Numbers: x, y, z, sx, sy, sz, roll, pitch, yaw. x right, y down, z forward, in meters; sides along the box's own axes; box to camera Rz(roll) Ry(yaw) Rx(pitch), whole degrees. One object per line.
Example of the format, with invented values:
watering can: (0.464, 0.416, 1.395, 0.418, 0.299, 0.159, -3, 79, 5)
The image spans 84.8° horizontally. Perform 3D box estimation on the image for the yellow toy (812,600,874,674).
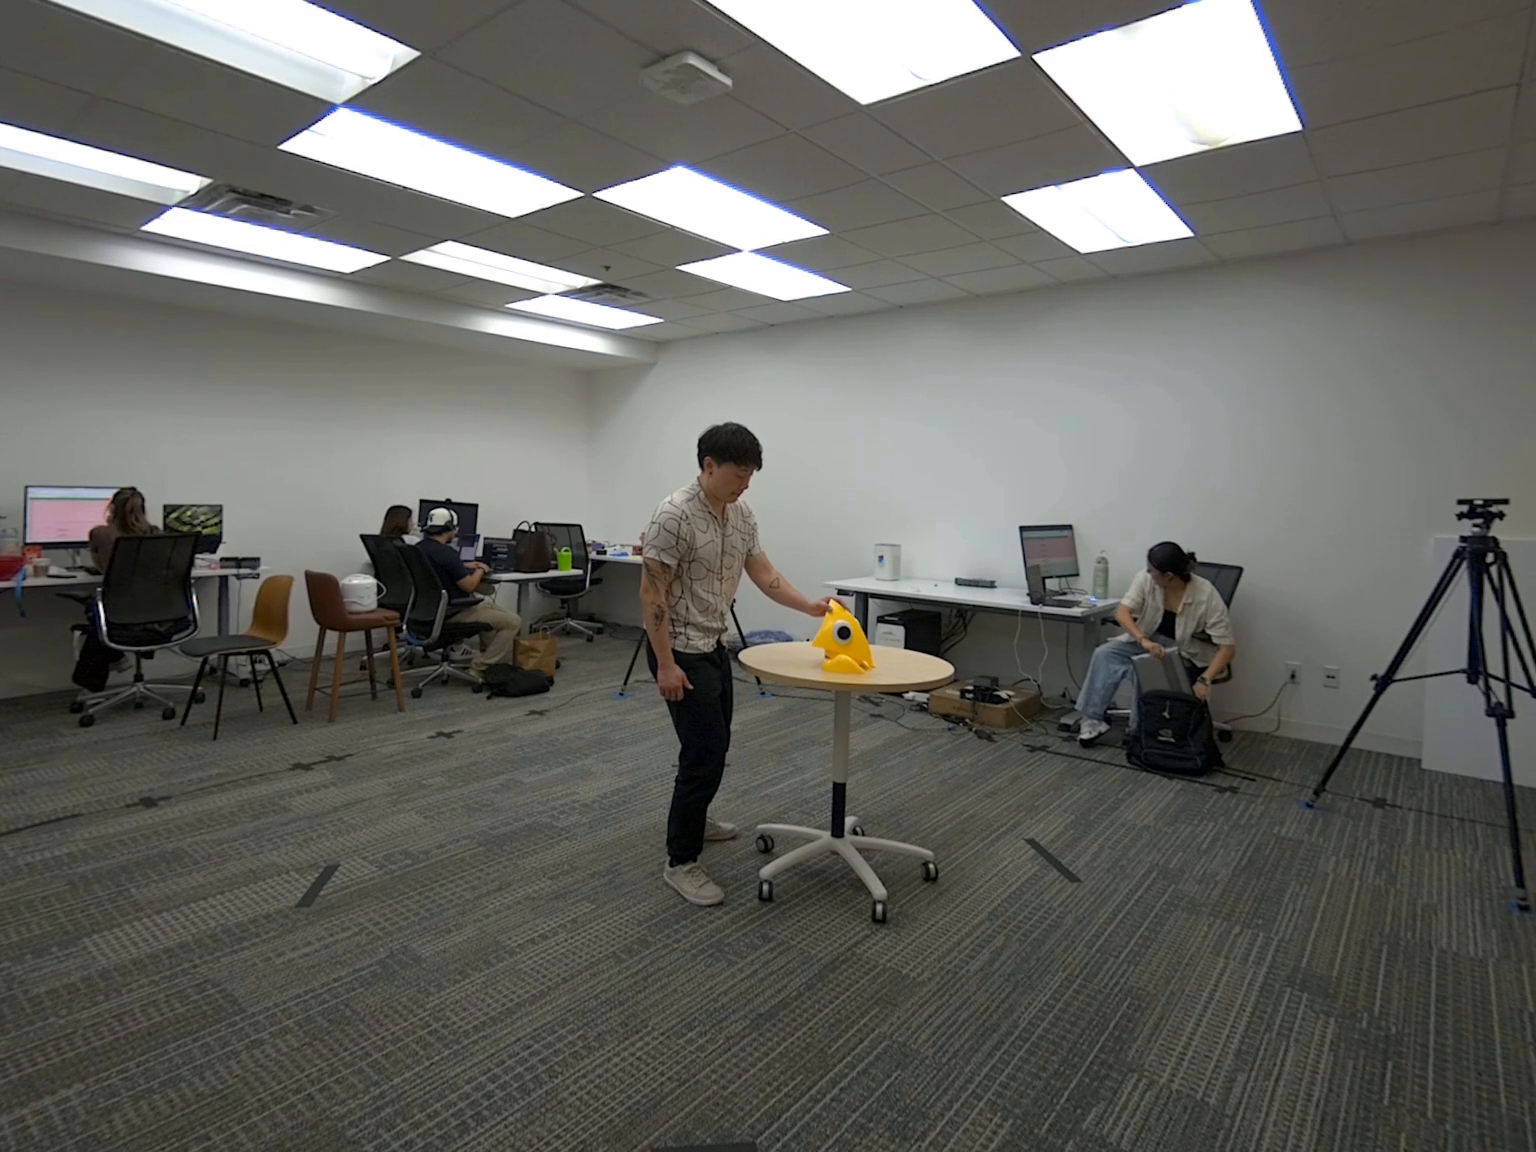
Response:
yellow toy: (0.262, 0.202, 2.931, 0.198, 0.230, 0.200, 3, 4, 26)
